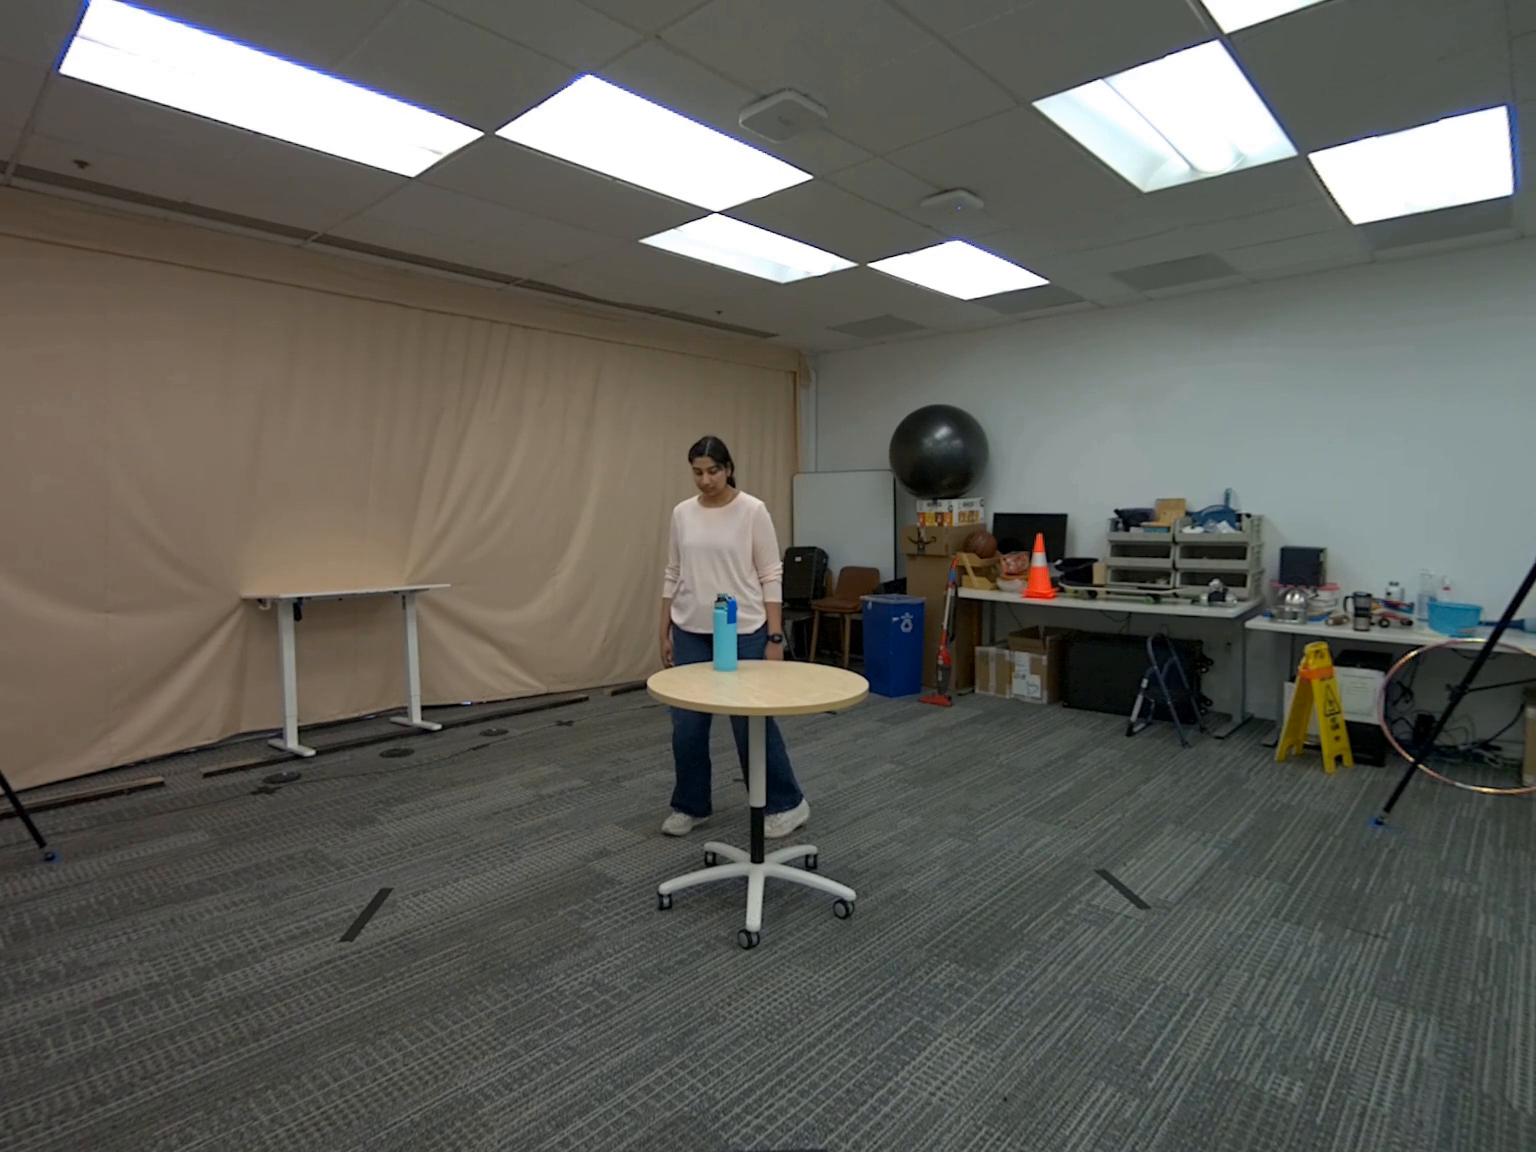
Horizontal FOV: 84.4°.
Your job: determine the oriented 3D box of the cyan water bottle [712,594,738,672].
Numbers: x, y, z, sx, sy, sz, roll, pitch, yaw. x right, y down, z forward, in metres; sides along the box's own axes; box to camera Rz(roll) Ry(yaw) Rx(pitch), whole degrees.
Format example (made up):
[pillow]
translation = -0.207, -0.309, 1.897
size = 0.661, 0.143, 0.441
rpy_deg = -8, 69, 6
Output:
[cyan water bottle]
translation = -0.160, 0.206, 3.132
size = 0.092, 0.283, 0.092
rpy_deg = 0, 3, -2
